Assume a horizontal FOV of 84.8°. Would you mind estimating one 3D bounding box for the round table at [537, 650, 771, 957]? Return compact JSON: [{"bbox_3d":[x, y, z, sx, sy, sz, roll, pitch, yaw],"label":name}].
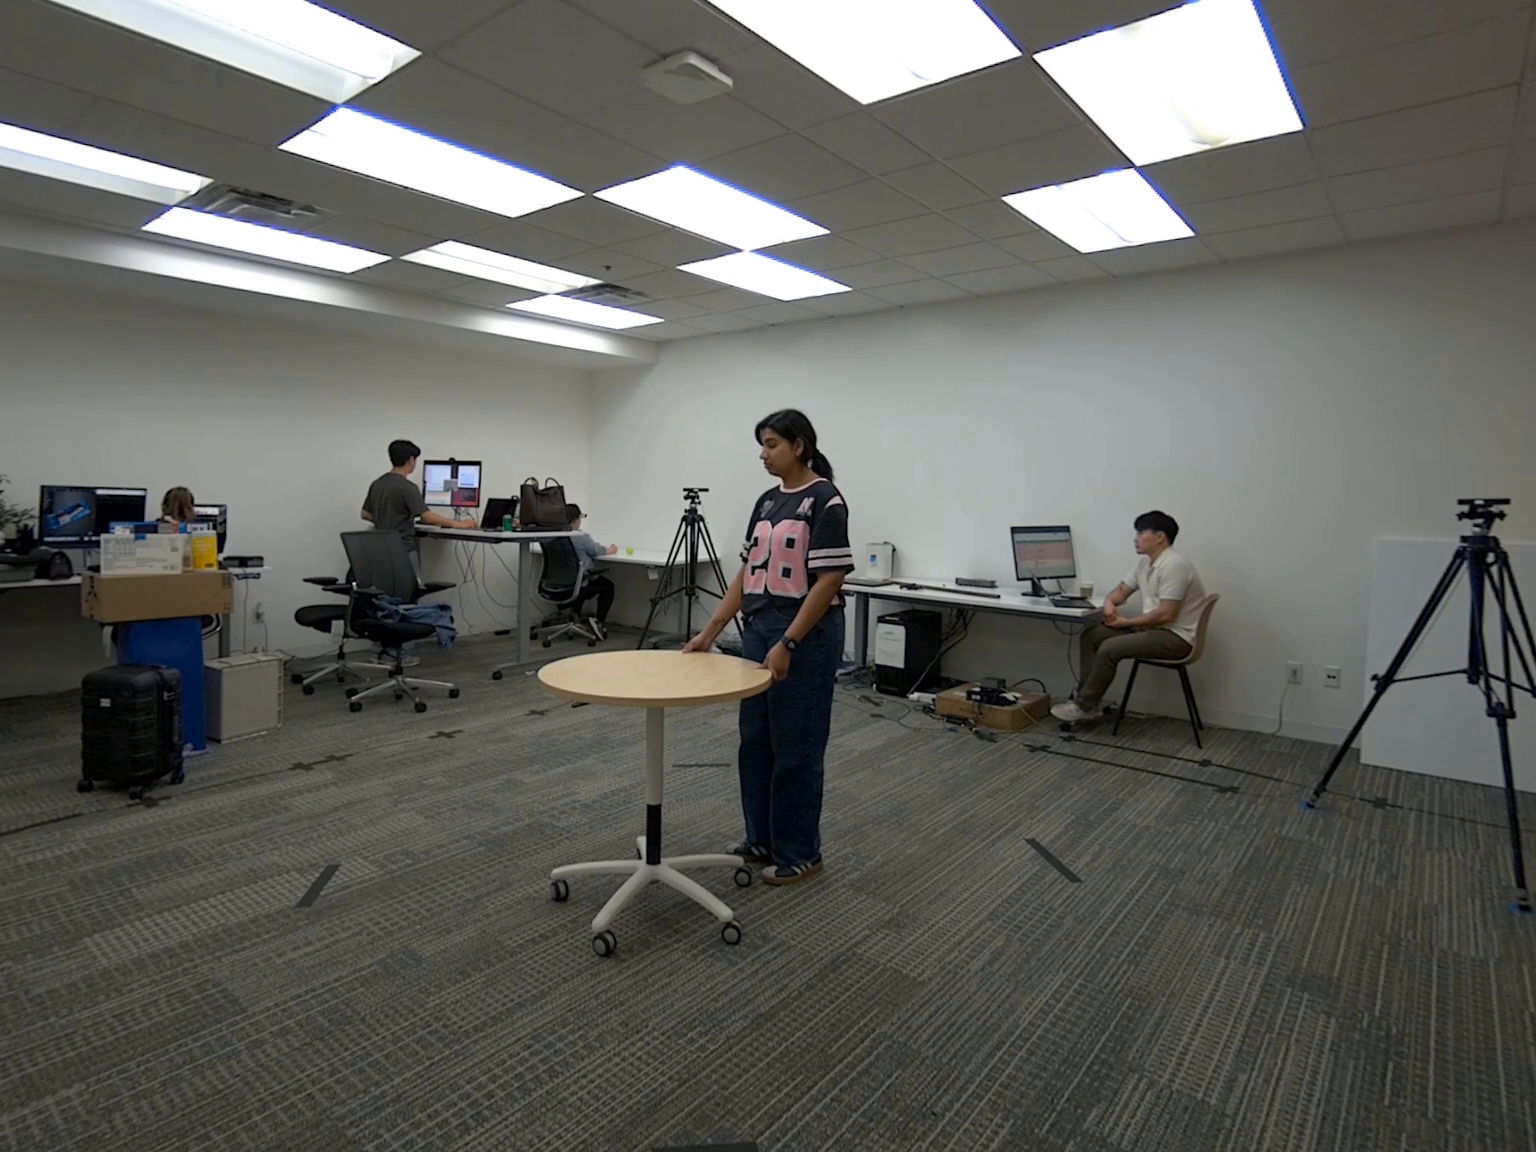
[{"bbox_3d":[-0.375,0.699,2.826,0.784,0.784,0.789,0,4,-2],"label":"round table"}]
